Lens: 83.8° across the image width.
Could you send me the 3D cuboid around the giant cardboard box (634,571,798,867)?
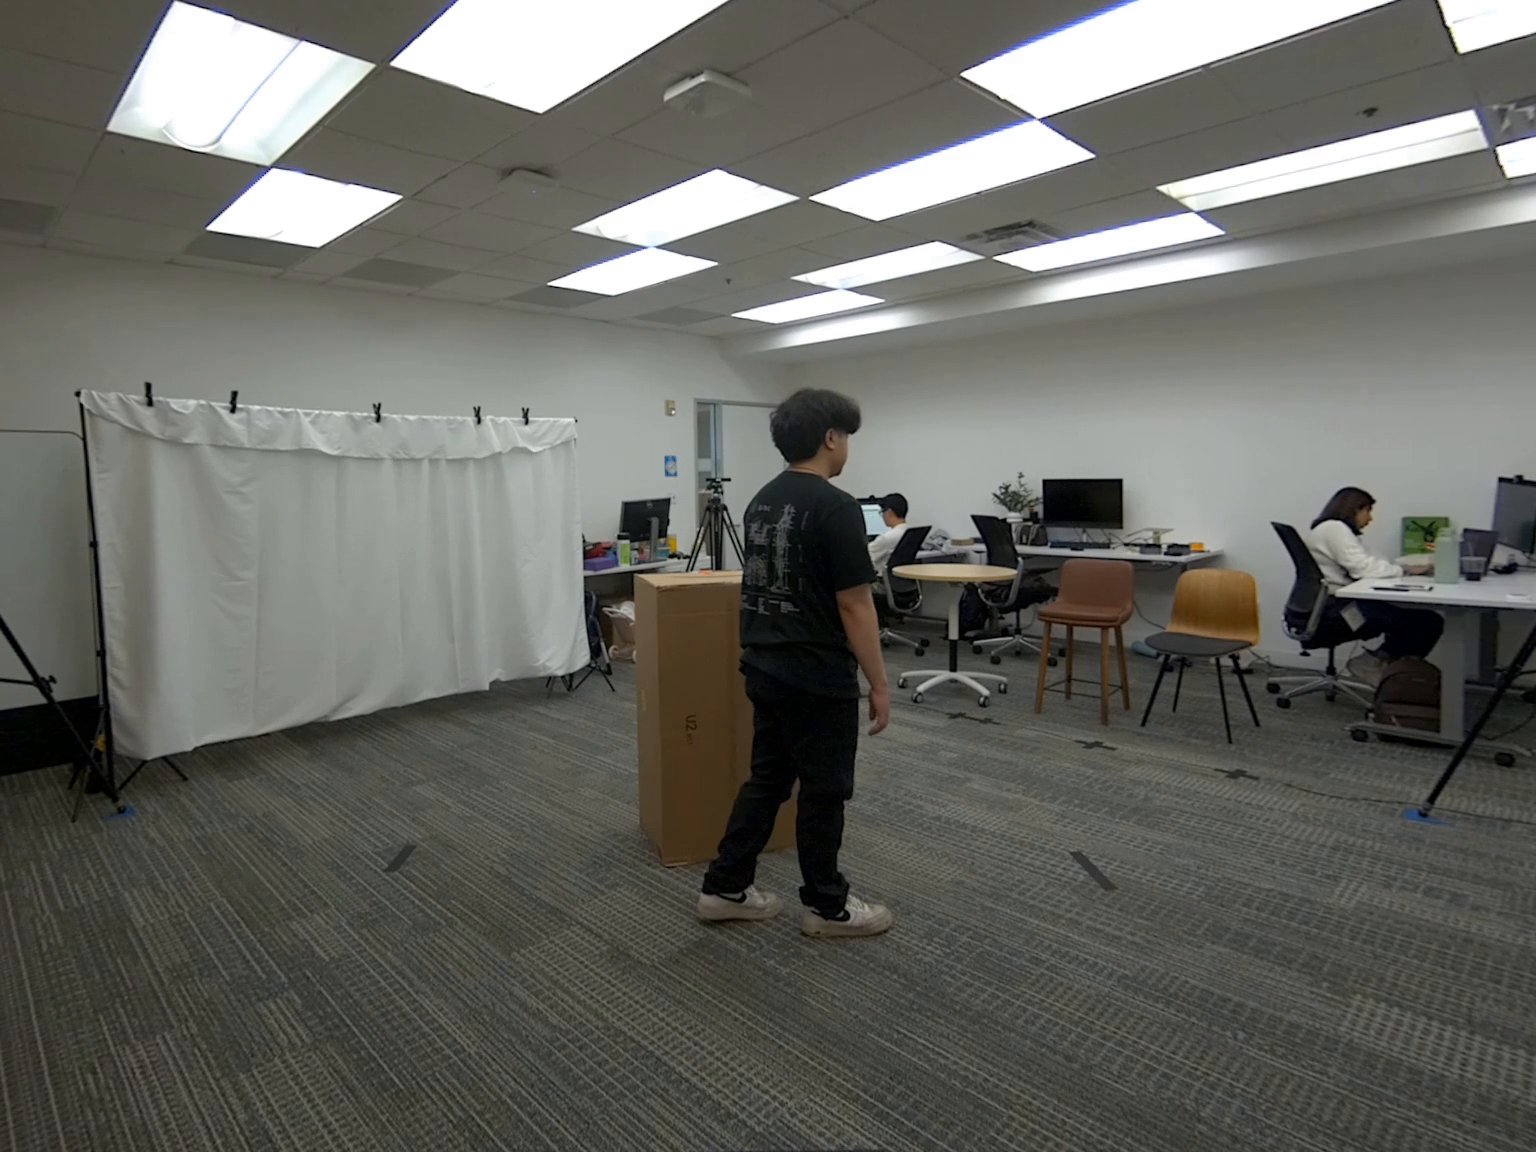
[{"bbox_3d":[-0.193,0.506,3.331,0.575,1.024,0.455,-2,4,-18],"label":"giant cardboard box"}]
